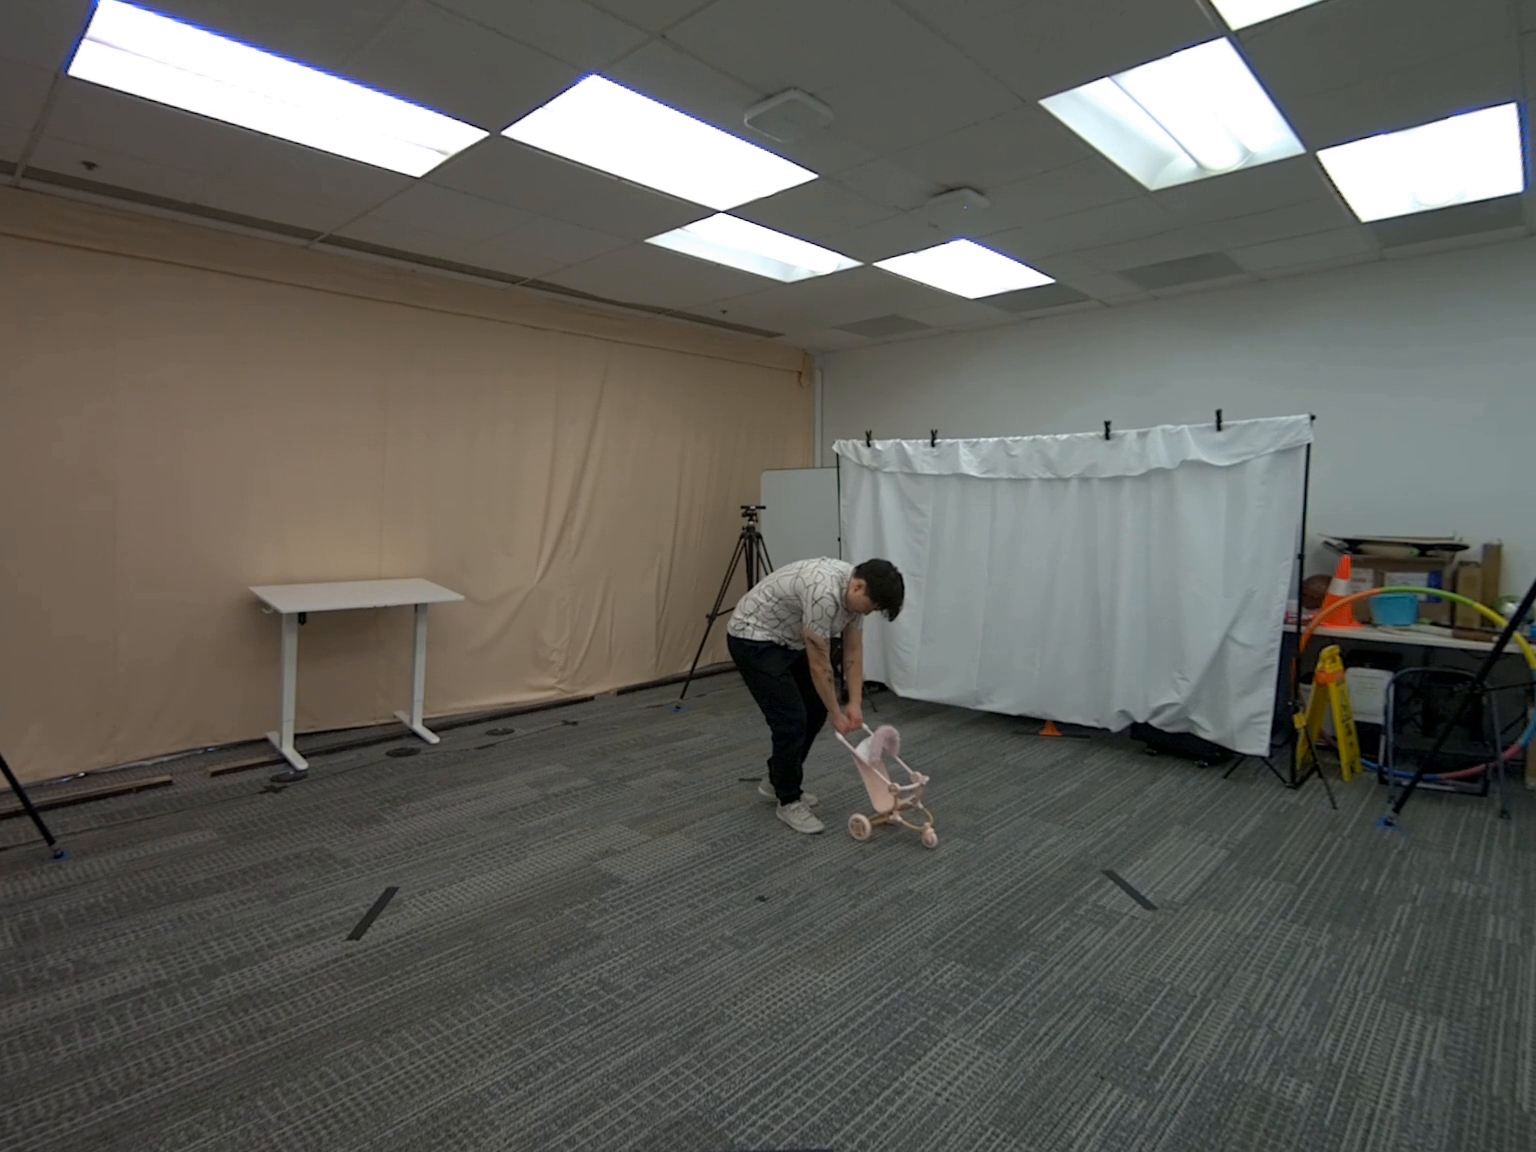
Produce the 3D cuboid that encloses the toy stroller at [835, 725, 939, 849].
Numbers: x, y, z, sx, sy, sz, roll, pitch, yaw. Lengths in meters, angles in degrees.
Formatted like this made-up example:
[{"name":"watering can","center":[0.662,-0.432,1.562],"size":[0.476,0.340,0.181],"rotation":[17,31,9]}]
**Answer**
[{"name":"toy stroller","center":[0.516,0.872,3.539],"size":[0.273,0.538,0.350],"rotation":[-4,-10,-45]}]
